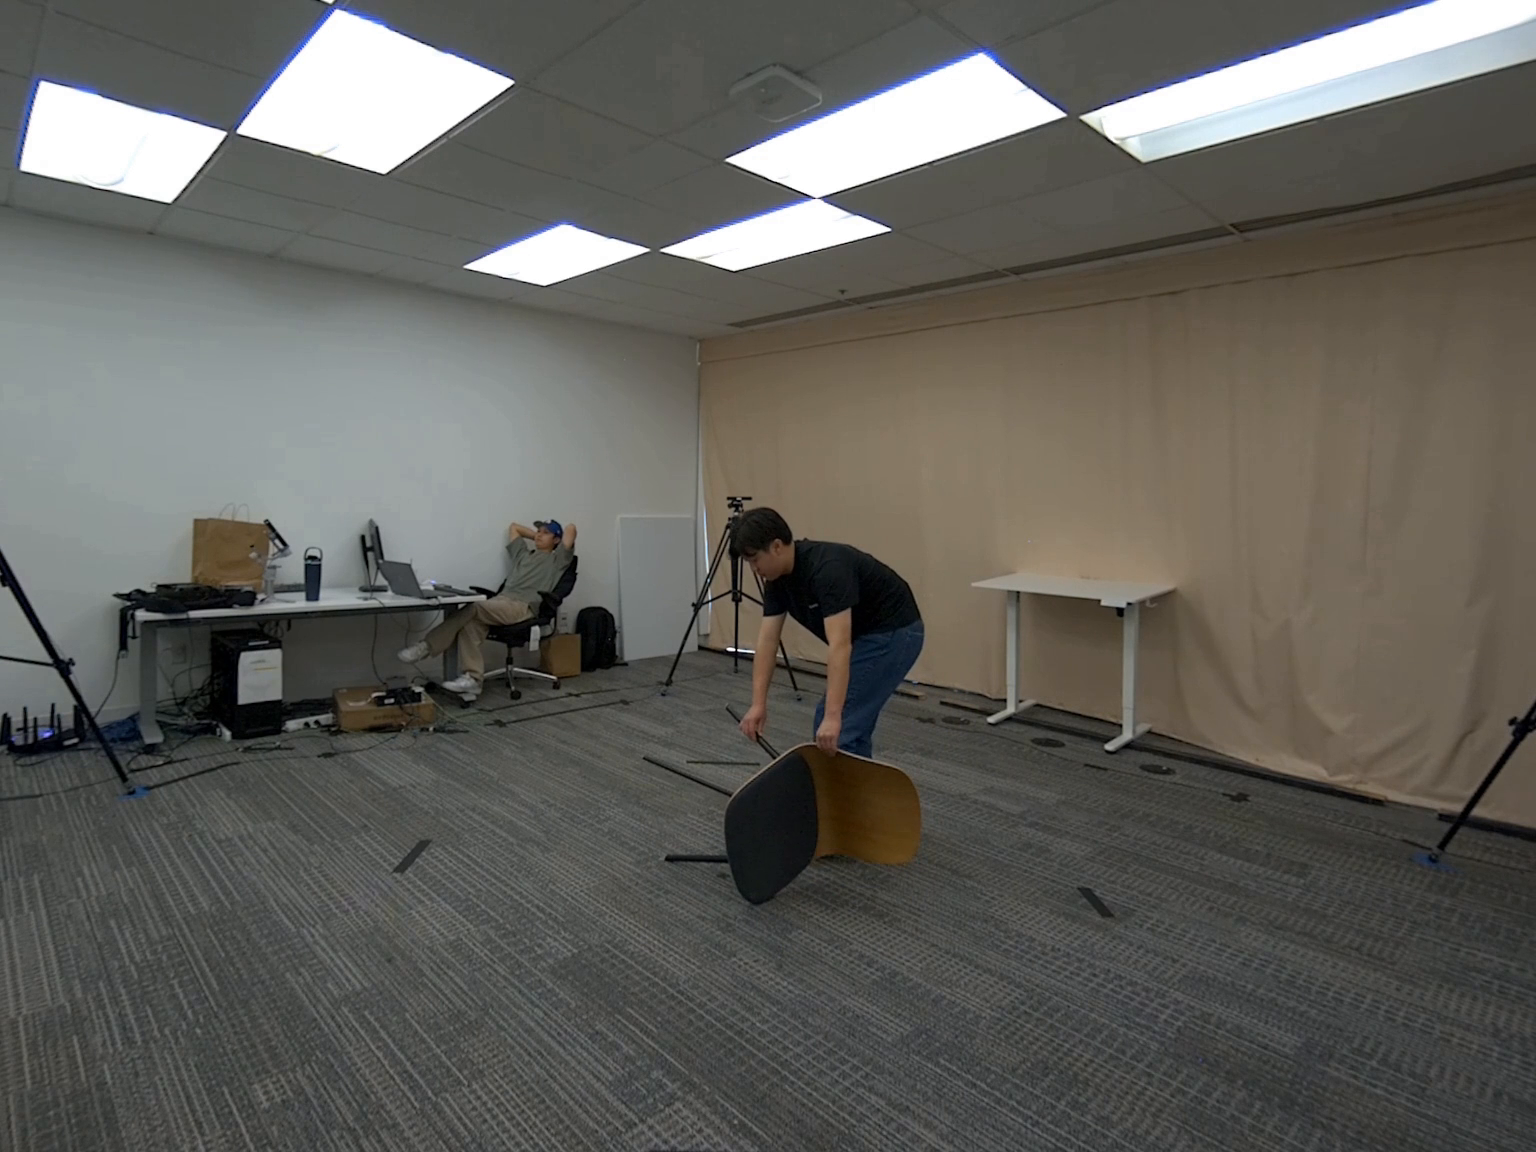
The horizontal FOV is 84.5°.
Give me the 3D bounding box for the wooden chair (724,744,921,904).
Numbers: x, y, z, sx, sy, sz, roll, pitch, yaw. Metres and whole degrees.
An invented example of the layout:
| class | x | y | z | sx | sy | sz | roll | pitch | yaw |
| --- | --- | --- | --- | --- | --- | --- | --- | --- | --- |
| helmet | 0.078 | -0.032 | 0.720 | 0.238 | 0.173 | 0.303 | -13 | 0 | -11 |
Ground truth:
| class | x | y | z | sx | sy | sz | roll | pitch | yaw |
| --- | --- | --- | --- | --- | --- | --- | --- | --- | --- |
| wooden chair | 0.024 | 0.861 | 2.995 | 0.900 | 0.471 | 0.517 | 6 | 22 | 39 |
